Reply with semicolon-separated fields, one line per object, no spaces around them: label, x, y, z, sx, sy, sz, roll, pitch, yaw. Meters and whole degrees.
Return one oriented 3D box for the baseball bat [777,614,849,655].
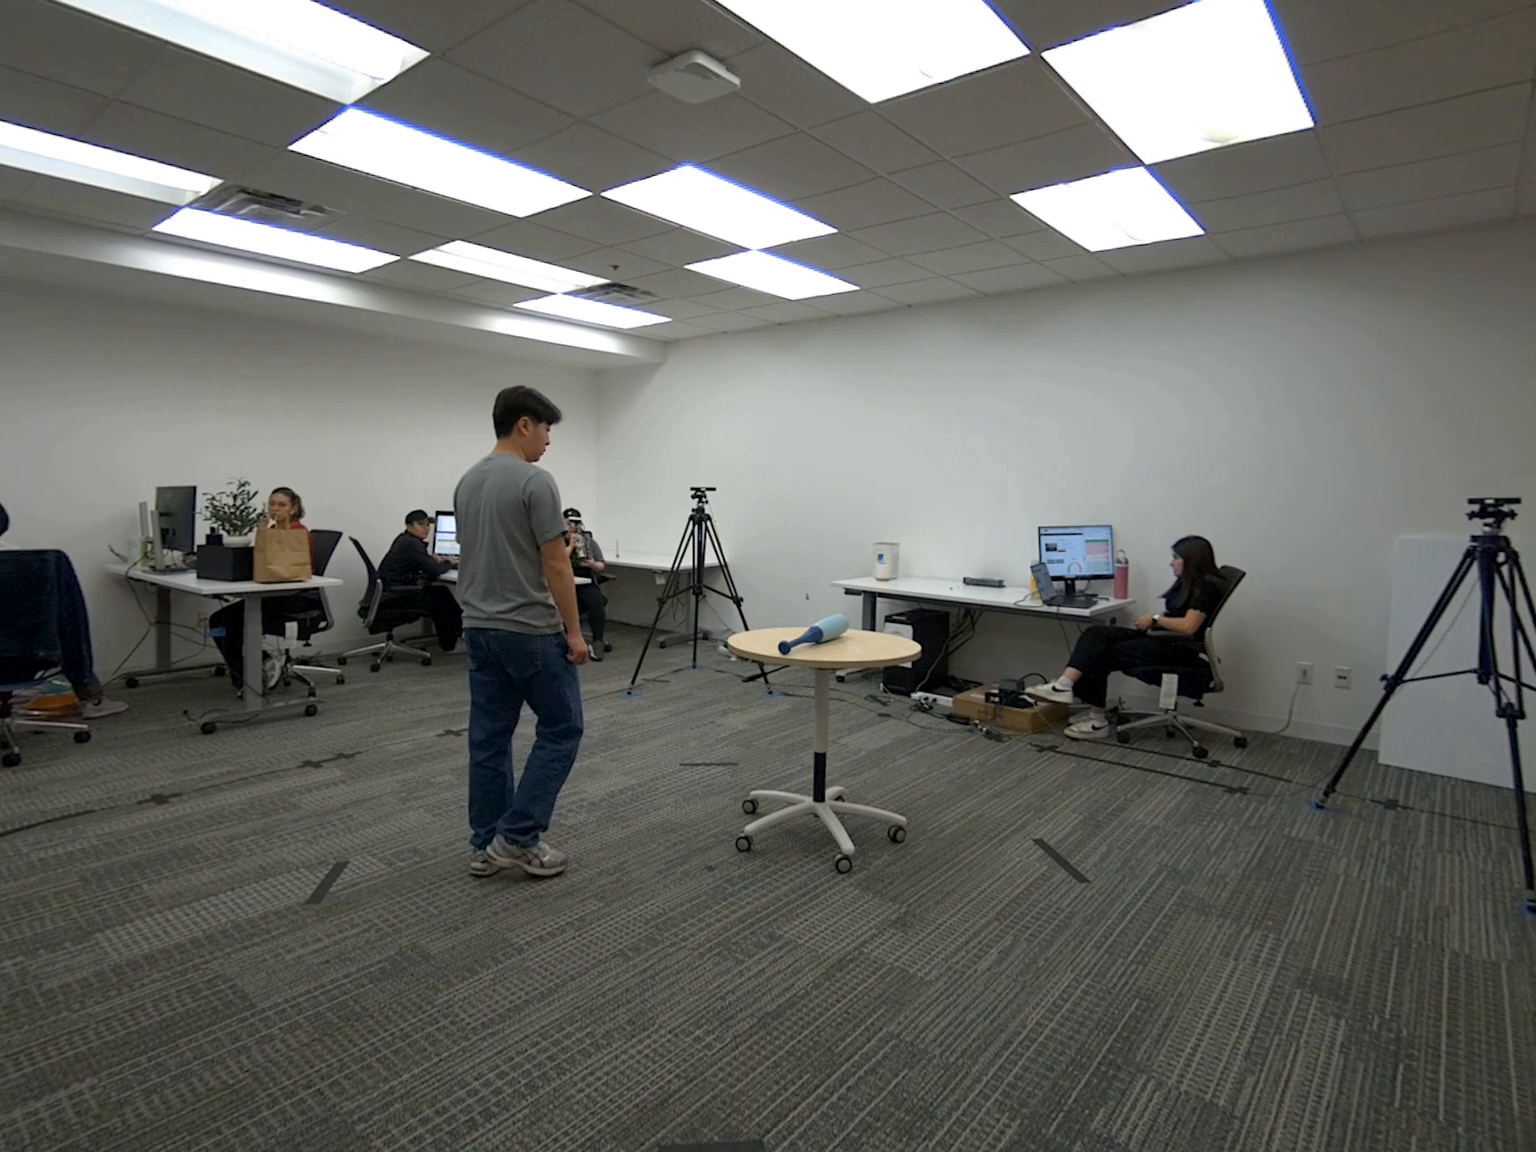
baseball bat;0.172;0.236;3.342;0.091;0.088;0.531;3;9;28
